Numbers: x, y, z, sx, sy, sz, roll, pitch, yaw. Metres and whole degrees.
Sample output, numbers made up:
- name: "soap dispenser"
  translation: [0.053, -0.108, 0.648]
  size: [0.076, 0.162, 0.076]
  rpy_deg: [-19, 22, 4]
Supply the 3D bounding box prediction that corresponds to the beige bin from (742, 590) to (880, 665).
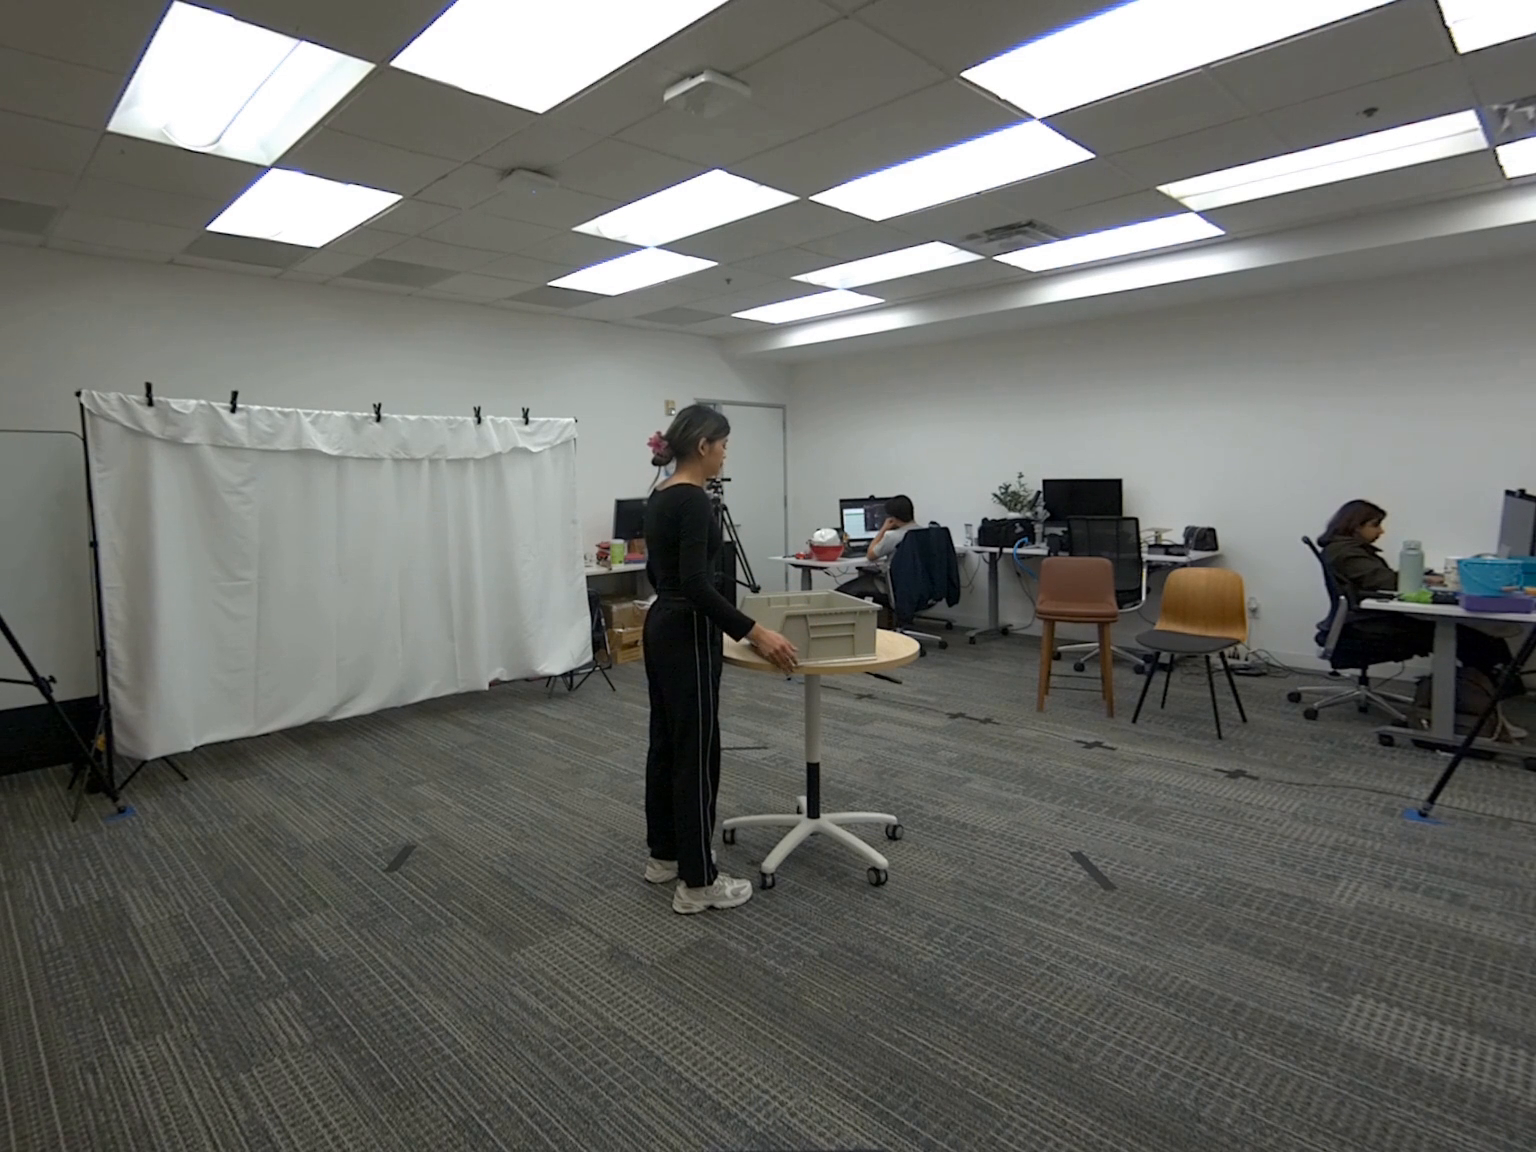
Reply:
- name: "beige bin"
  translation: [0.125, 0.174, 2.962]
  size: [0.371, 0.188, 0.431]
  rpy_deg: [-2, 6, -18]
